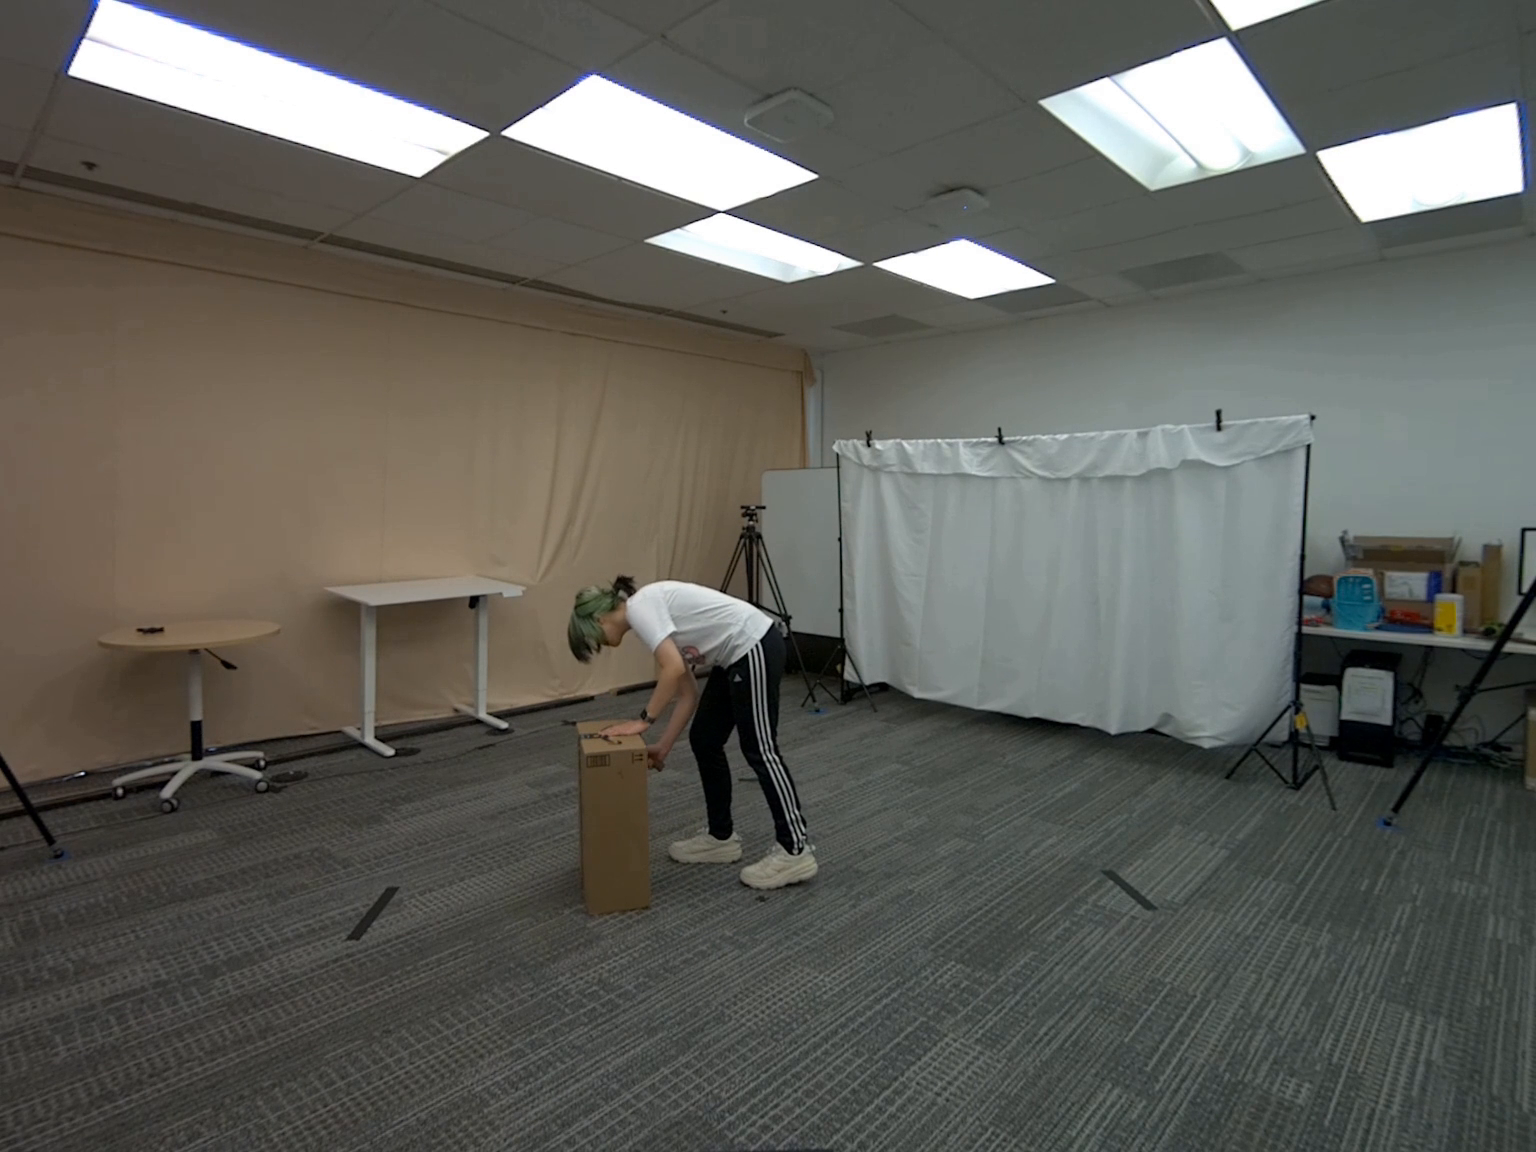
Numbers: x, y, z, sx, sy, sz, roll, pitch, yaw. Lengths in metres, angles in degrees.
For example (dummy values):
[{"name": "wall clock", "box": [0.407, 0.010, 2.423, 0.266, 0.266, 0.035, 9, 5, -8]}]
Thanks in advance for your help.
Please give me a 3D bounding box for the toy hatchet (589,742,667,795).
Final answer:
[{"name": "toy hatchet", "box": [-0.545, 0.745, 3.296, 0.274, 0.132, 0.029, 12, -35, 12]}]
